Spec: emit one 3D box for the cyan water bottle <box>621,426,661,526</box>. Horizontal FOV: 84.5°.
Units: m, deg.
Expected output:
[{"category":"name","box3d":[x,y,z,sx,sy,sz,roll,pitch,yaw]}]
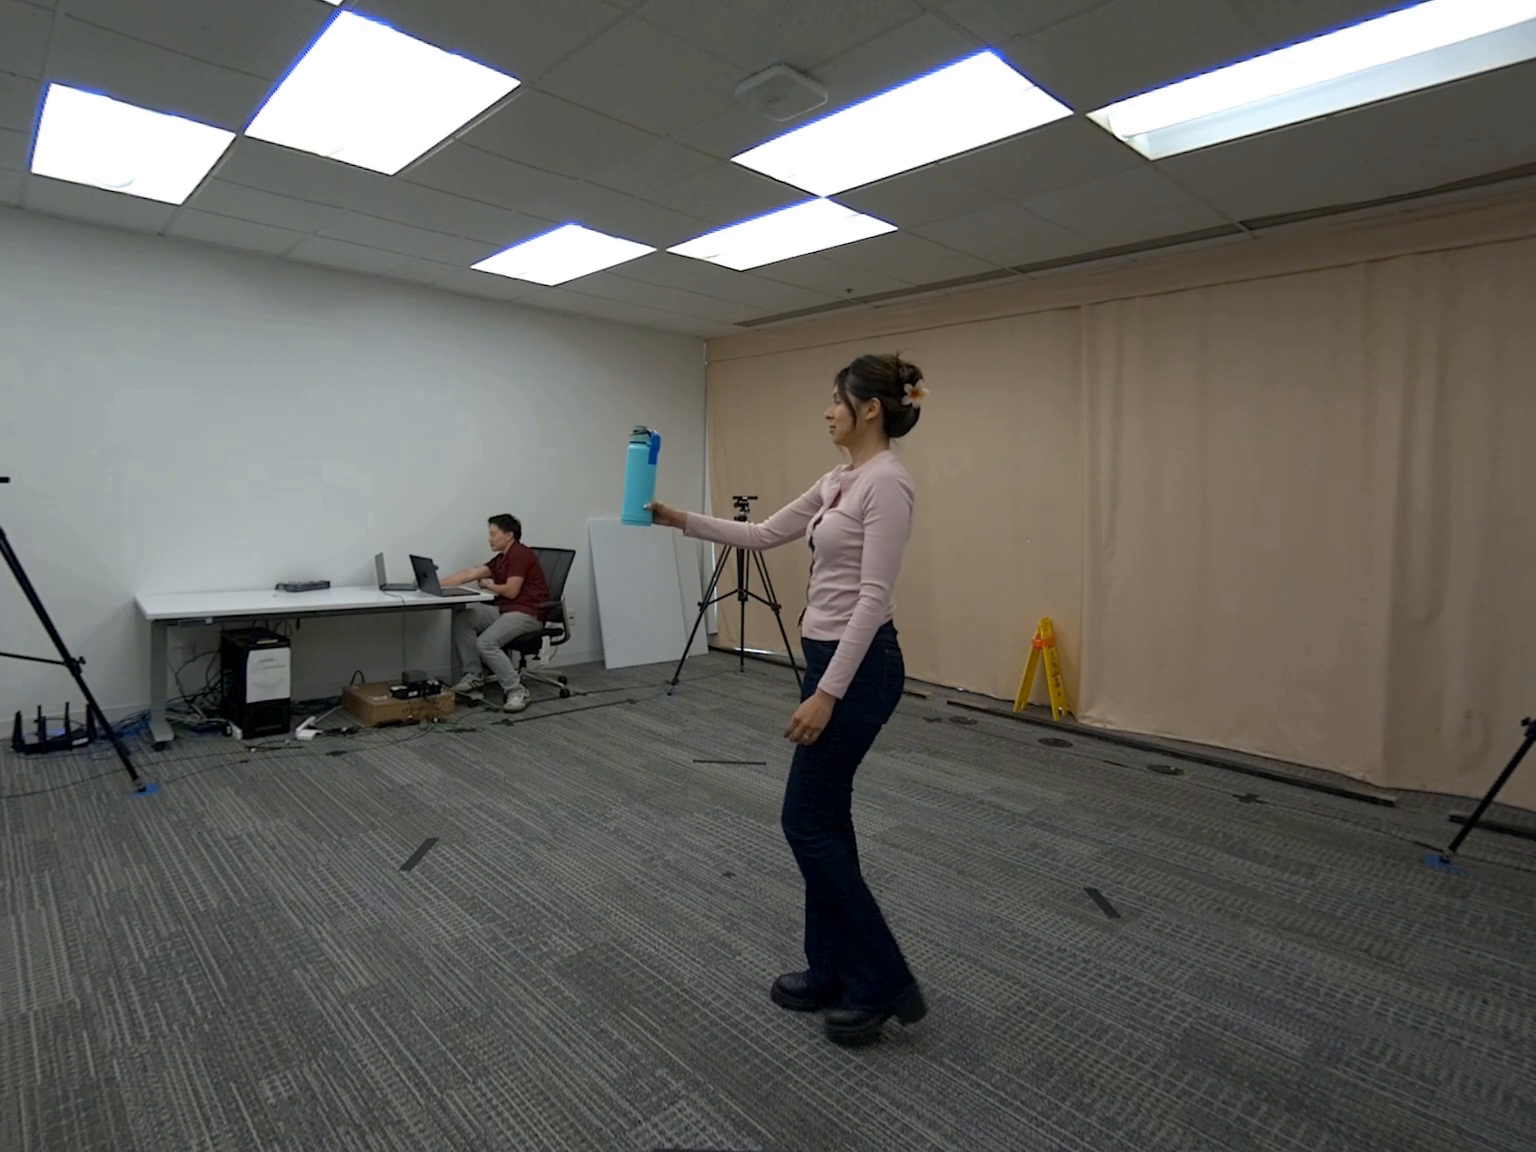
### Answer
[{"category":"cyan water bottle","box3d":[-0.367,-0.288,2.395,0.092,0.283,0.092,7,2,-2]}]
